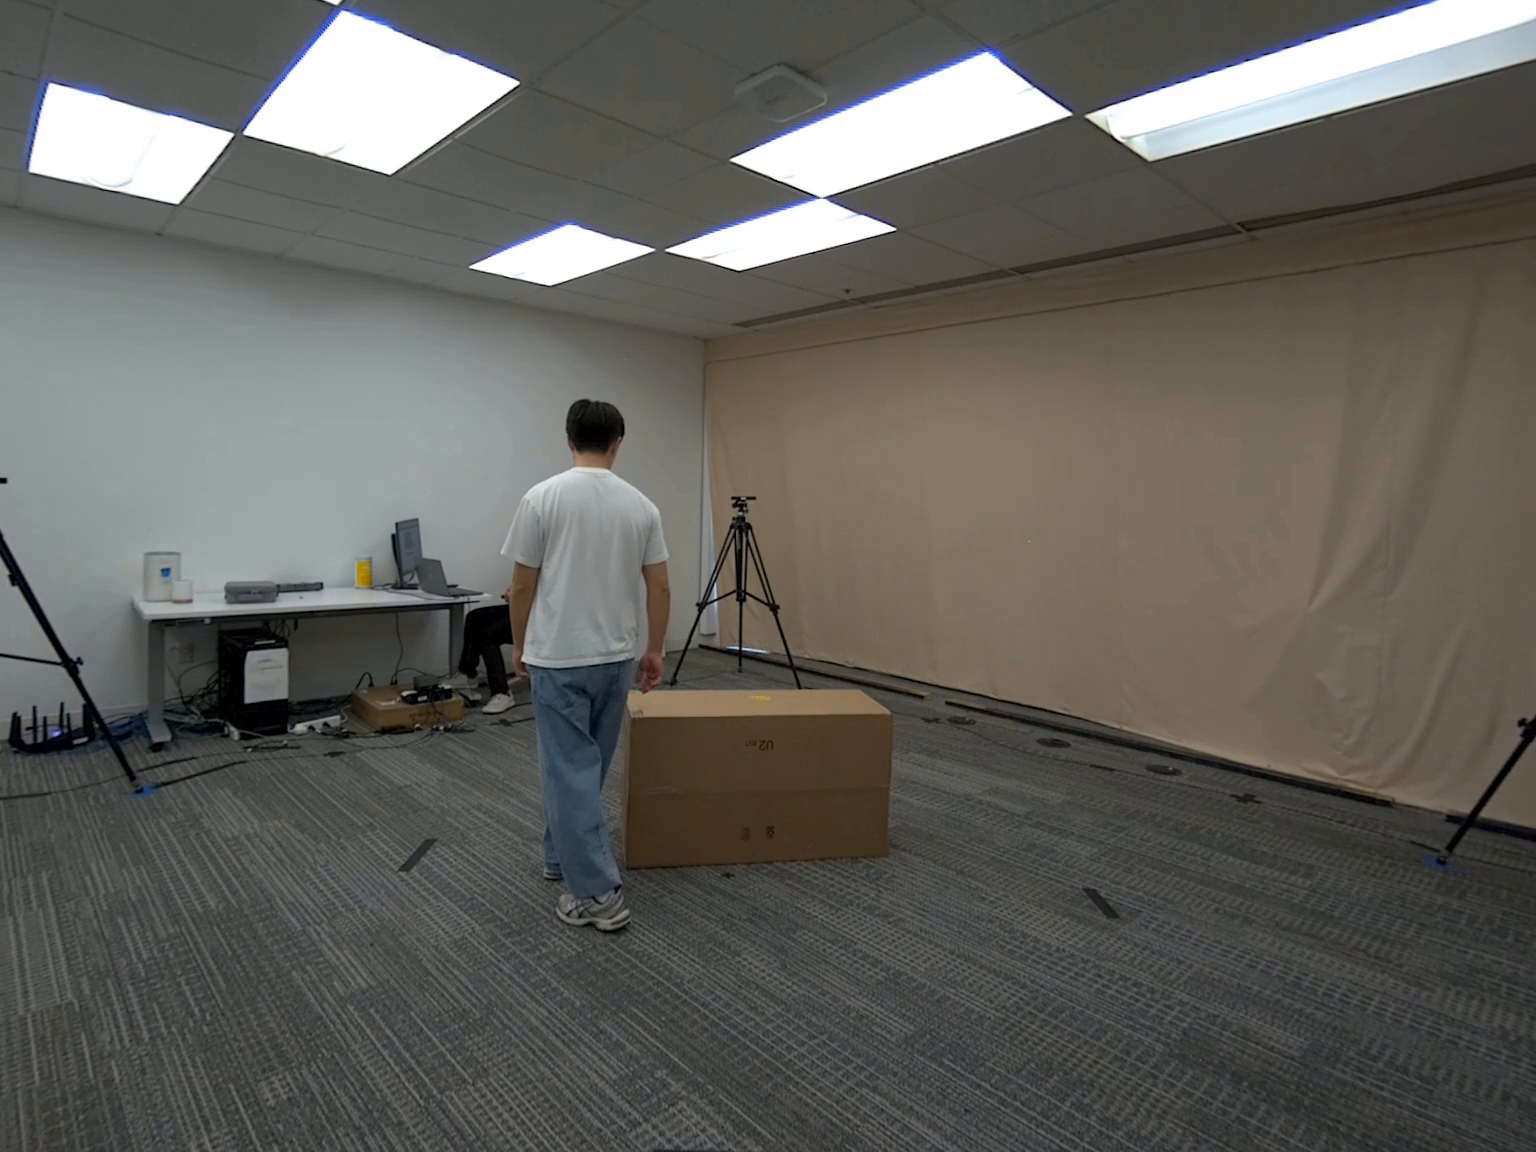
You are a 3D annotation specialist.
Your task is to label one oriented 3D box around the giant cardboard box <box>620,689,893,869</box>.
[{"bbox_3d":[-0.070,0.791,3.412,1.017,0.576,0.431,1,4,-10],"label":"giant cardboard box"}]
